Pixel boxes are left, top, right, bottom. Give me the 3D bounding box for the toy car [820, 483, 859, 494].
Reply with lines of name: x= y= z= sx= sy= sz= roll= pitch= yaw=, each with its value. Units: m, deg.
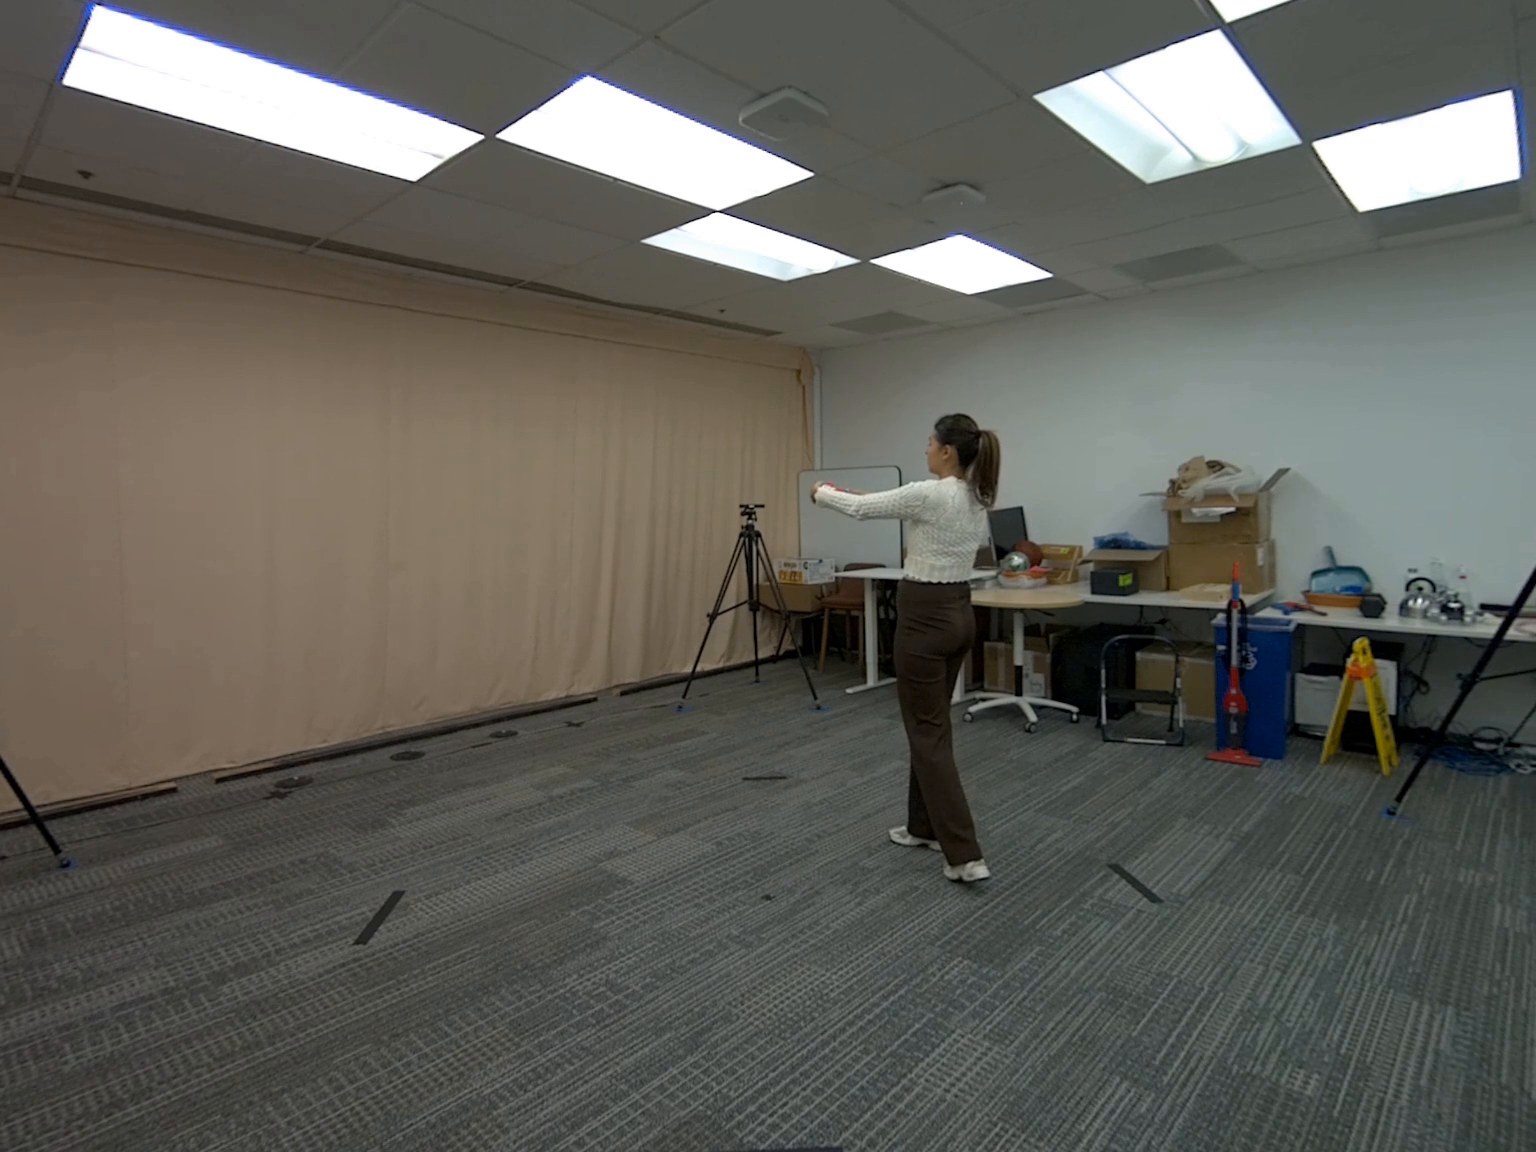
toy car: x=0.308 y=-0.336 z=3.615 sx=0.249 sy=0.083 sz=0.133 roll=27 pitch=3 yaw=-19
